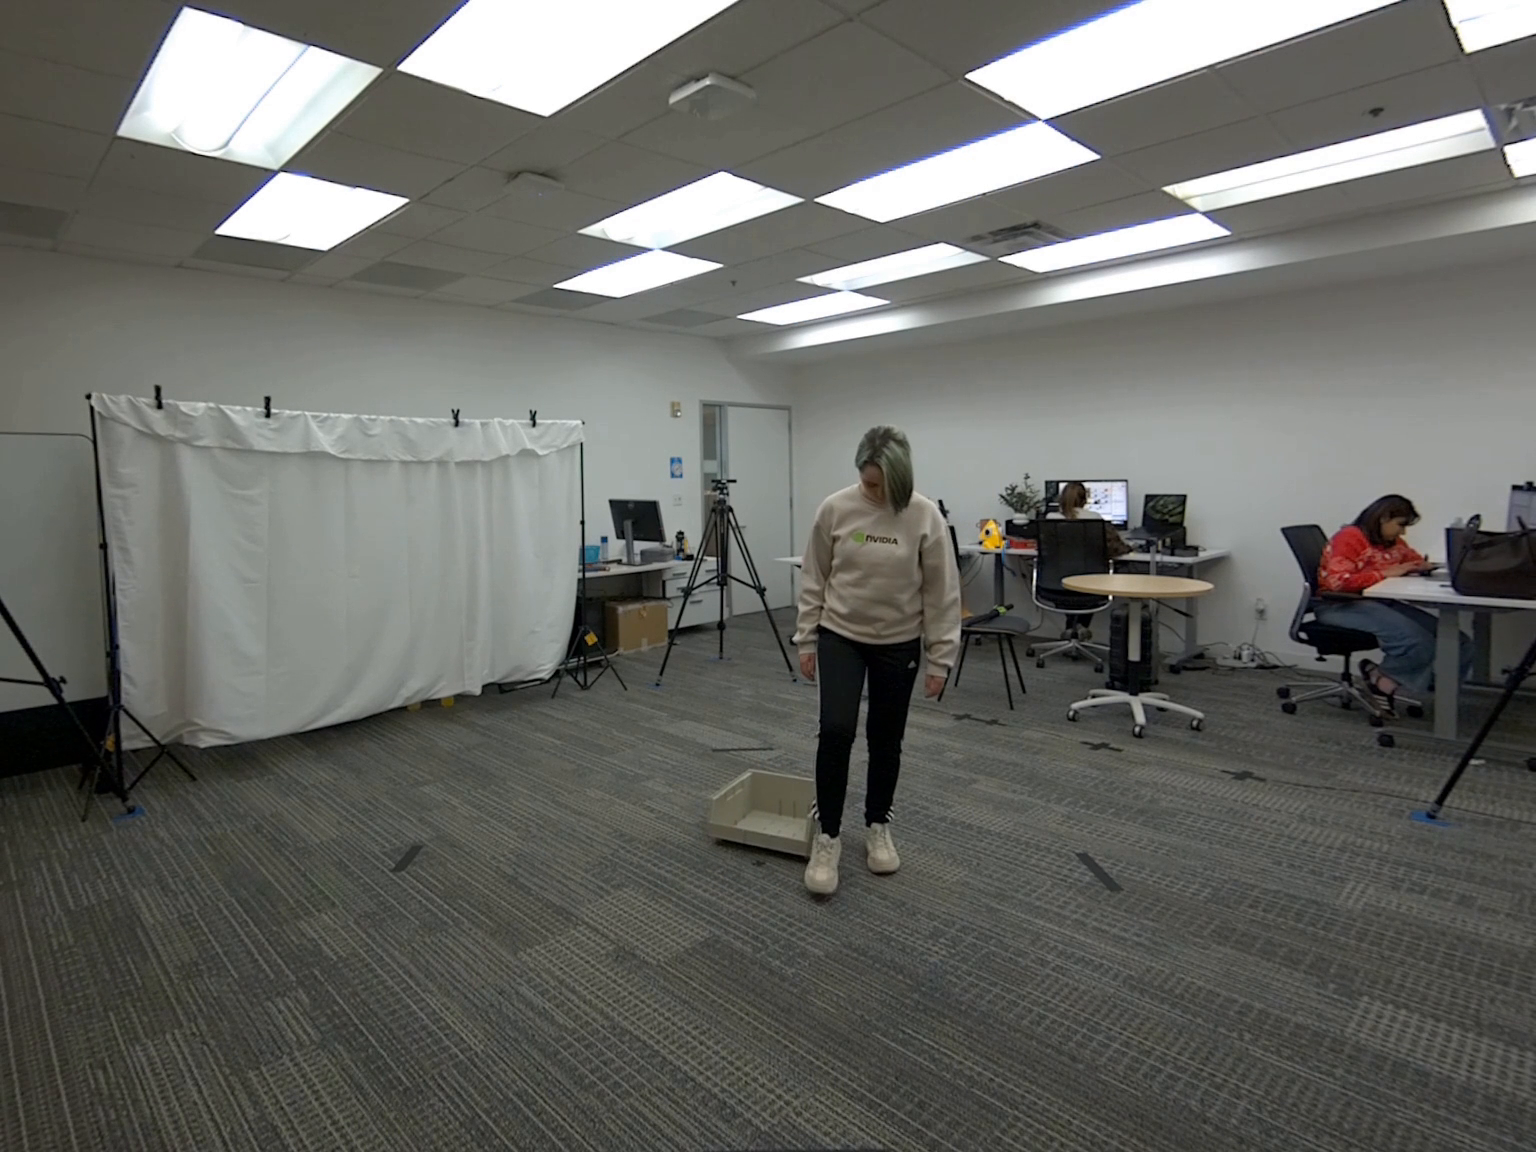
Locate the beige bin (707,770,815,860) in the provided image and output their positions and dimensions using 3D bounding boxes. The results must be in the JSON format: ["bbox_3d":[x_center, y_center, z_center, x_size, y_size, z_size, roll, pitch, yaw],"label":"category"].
[{"bbox_3d":[0.037,0.930,3.336,0.432,0.188,0.370,2,6,26],"label":"beige bin"}]
